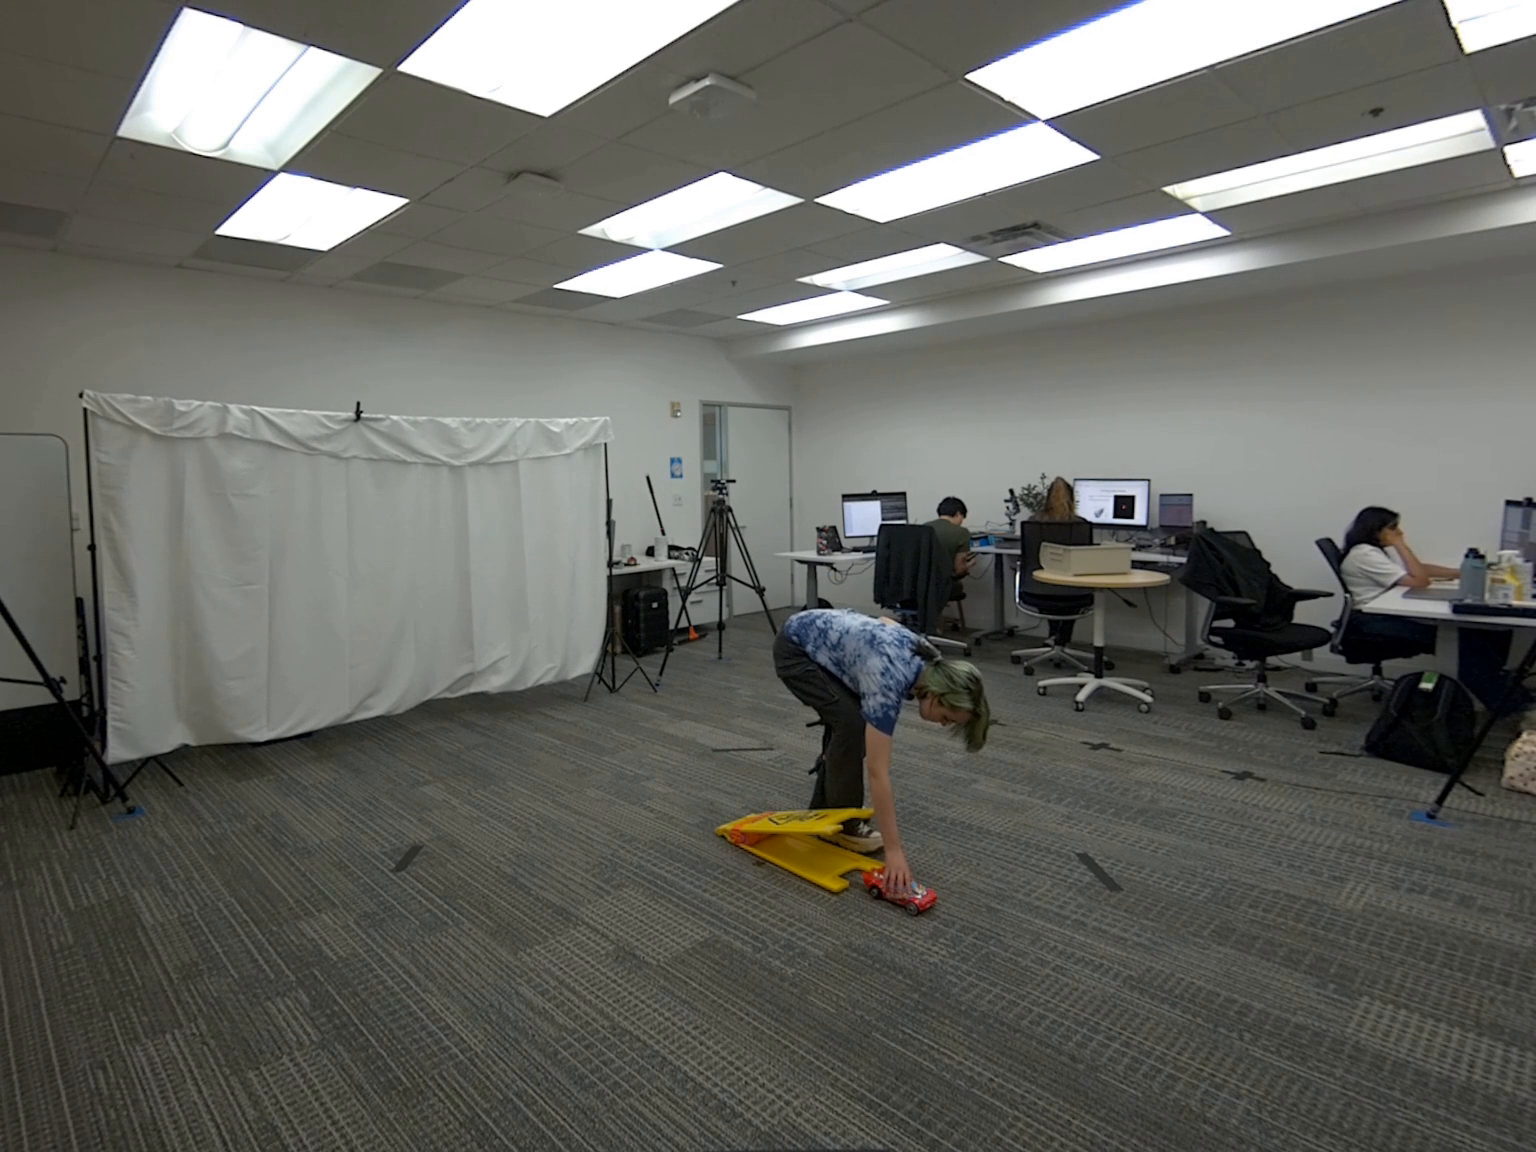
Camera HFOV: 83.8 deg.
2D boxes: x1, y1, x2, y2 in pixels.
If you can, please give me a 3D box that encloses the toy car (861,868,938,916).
[{"bbox_3d":[0.432,1.038,2.825,0.127,0.082,0.264,-7,19,-41],"label":"toy car"}]
